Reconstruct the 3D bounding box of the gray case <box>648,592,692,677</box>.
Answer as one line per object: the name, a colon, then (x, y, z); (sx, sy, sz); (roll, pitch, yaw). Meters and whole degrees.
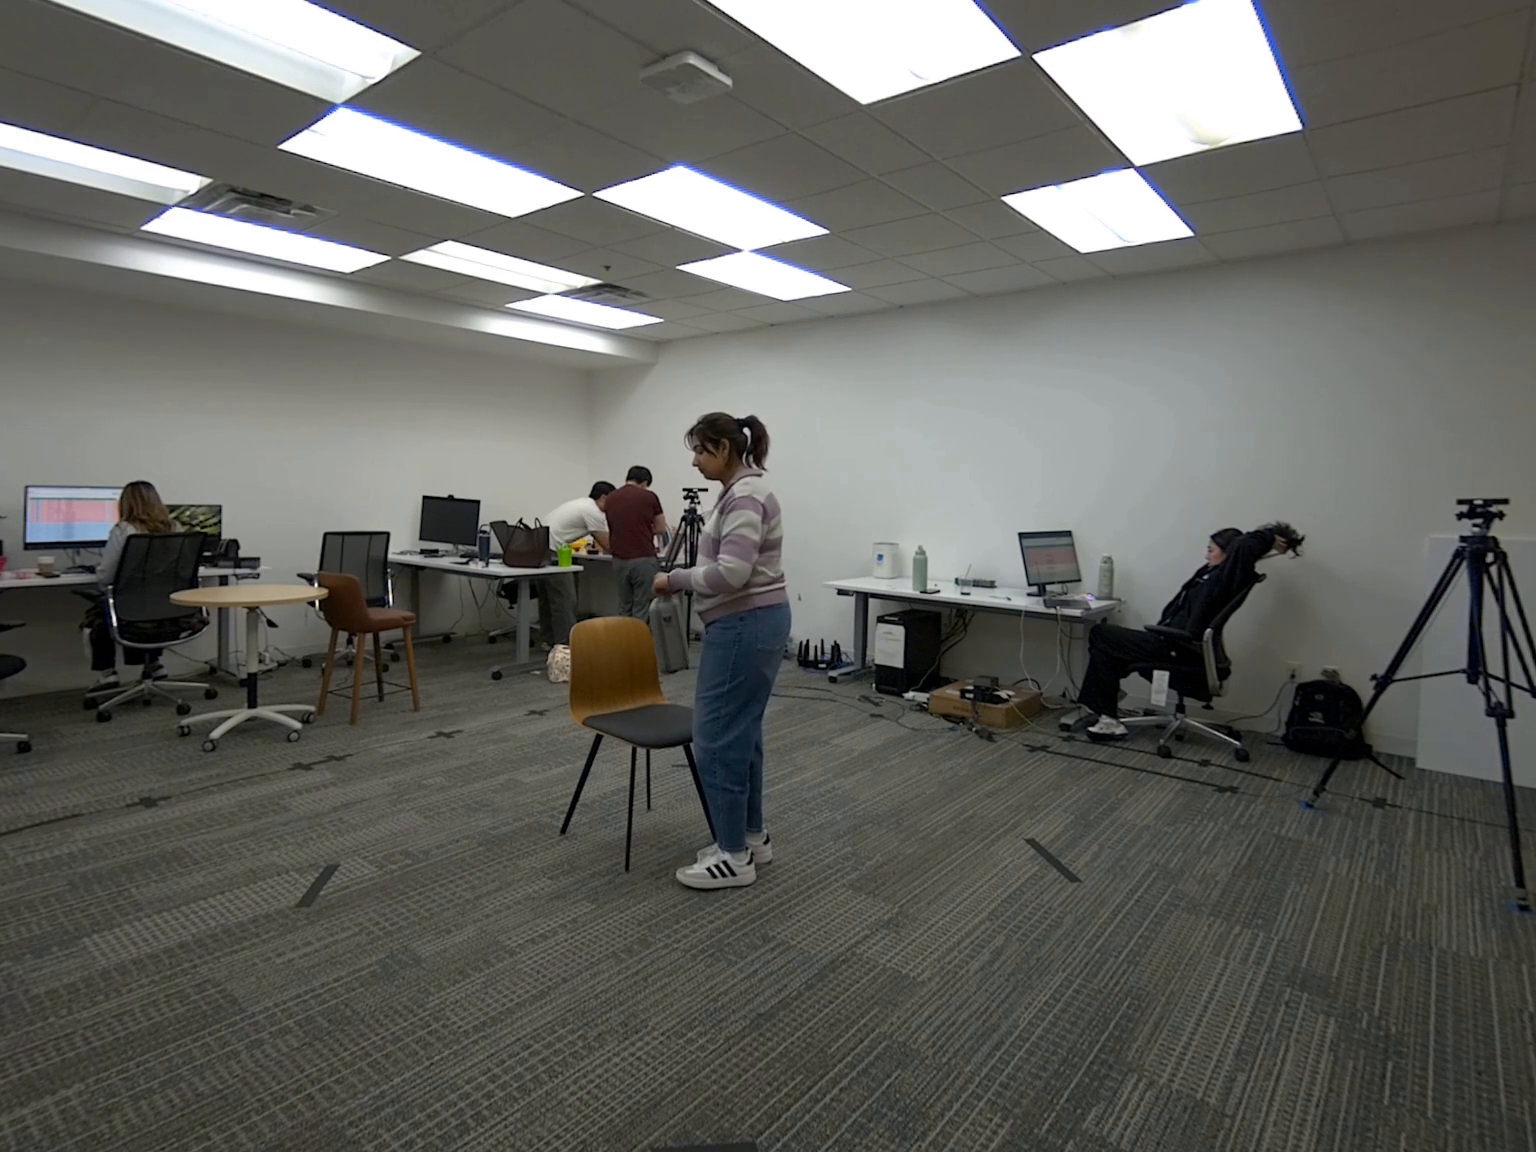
gray case: (-0.364, 0.204, 3.130); (0.104, 0.259, 0.259); (-11, 6, -4)
